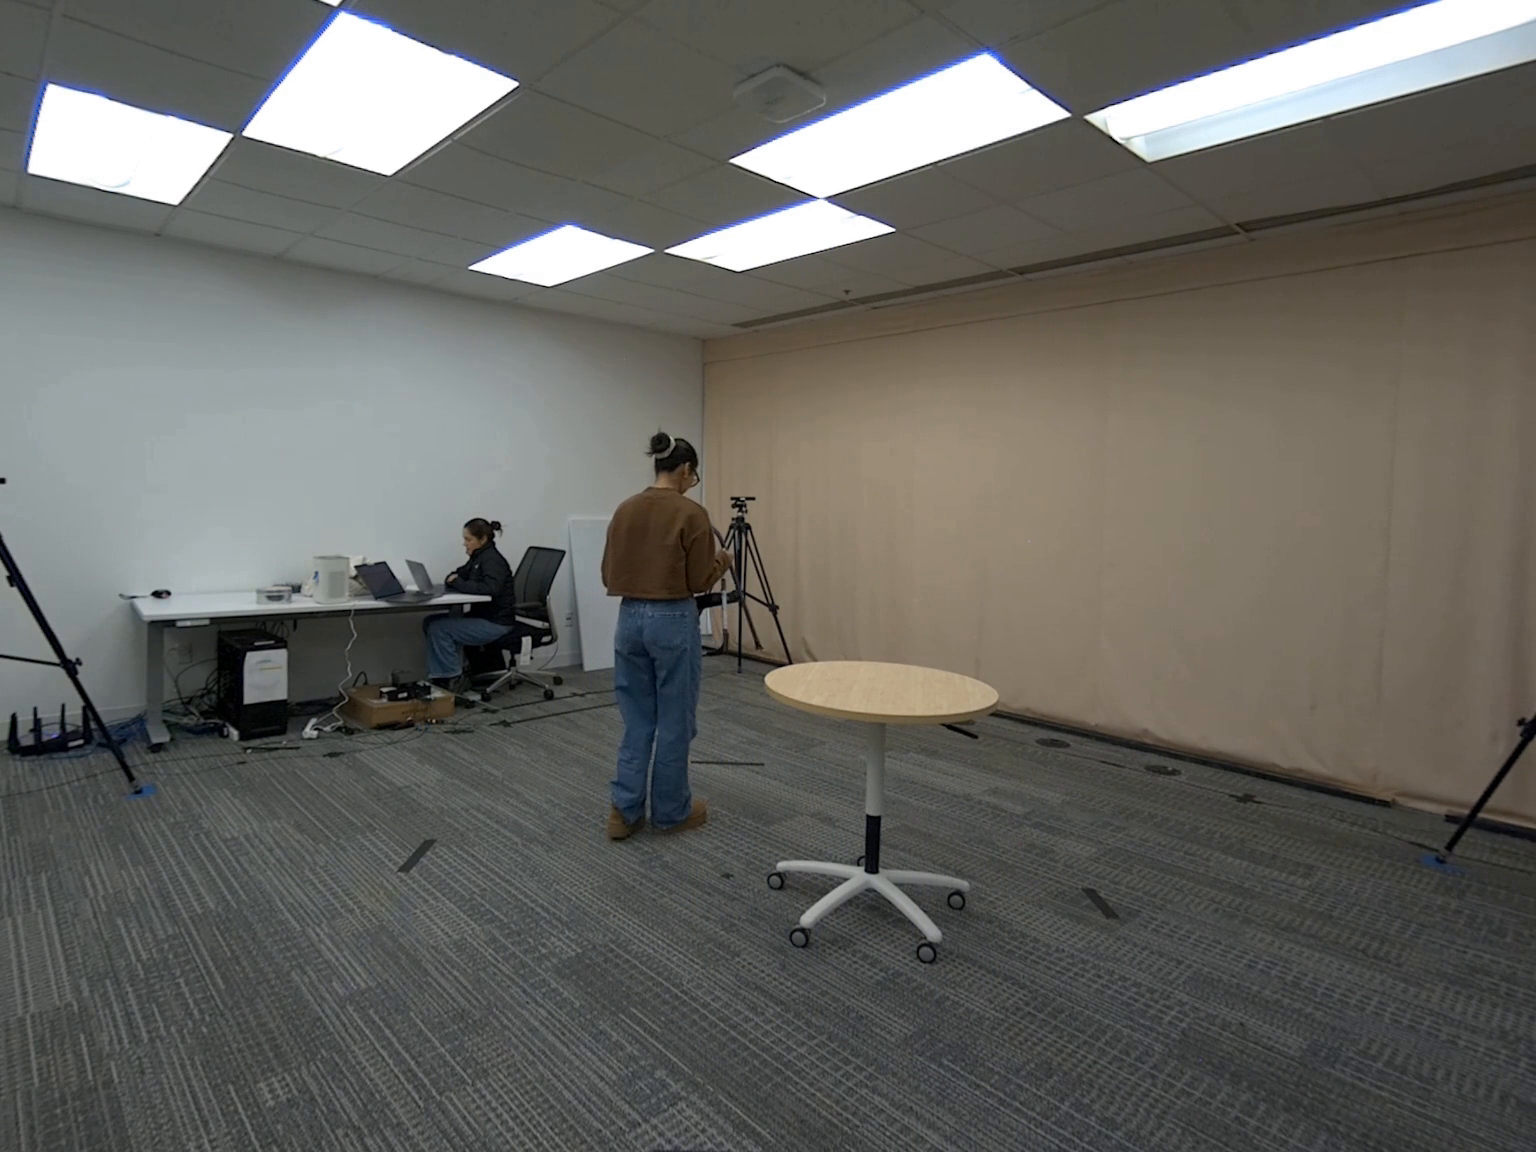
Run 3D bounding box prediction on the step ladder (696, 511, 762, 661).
[{"bbox_3d":[-0.339,0.068,3.738,0.437,0.610,0.342,-11,-8,25],"label":"step ladder"}]
